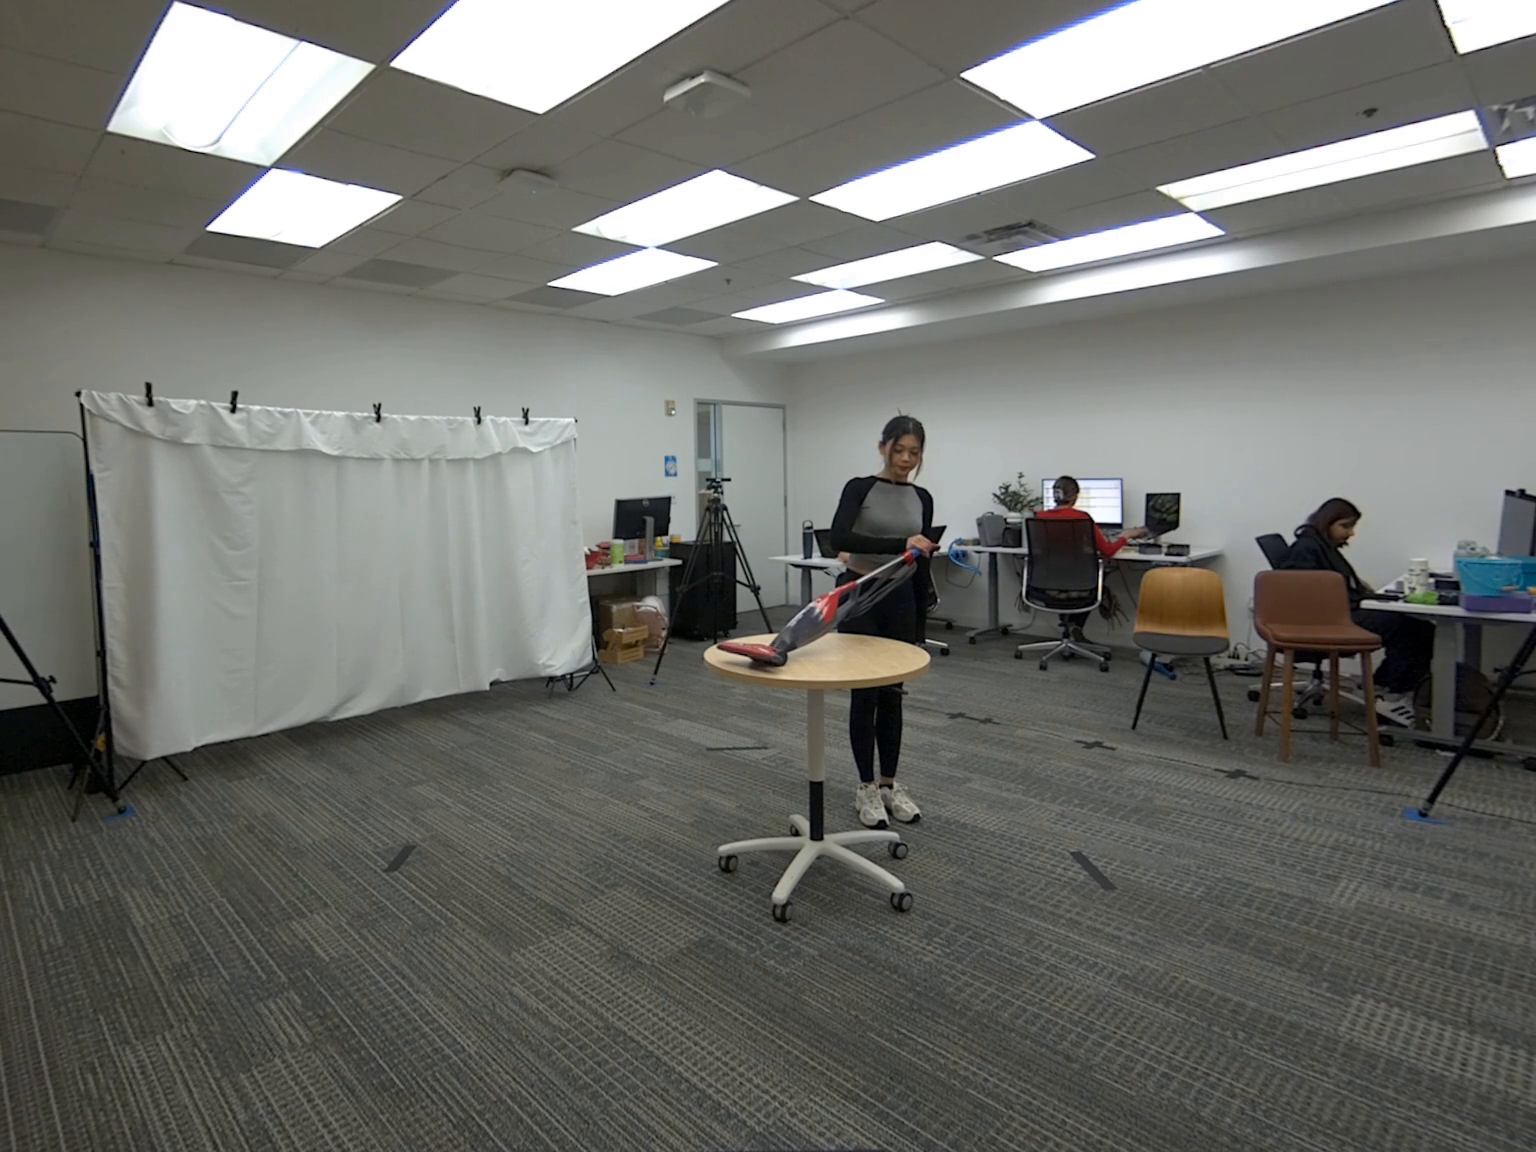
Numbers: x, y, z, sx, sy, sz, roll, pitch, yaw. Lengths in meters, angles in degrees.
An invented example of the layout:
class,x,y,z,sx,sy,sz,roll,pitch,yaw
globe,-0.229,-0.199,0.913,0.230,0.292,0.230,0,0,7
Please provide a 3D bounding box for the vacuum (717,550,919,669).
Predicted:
class,x,y,z,sx,sy,sz,roll,pitch,yaw
vacuum,0.312,0.087,3.065,0.261,0.141,1.034,7,25,44
